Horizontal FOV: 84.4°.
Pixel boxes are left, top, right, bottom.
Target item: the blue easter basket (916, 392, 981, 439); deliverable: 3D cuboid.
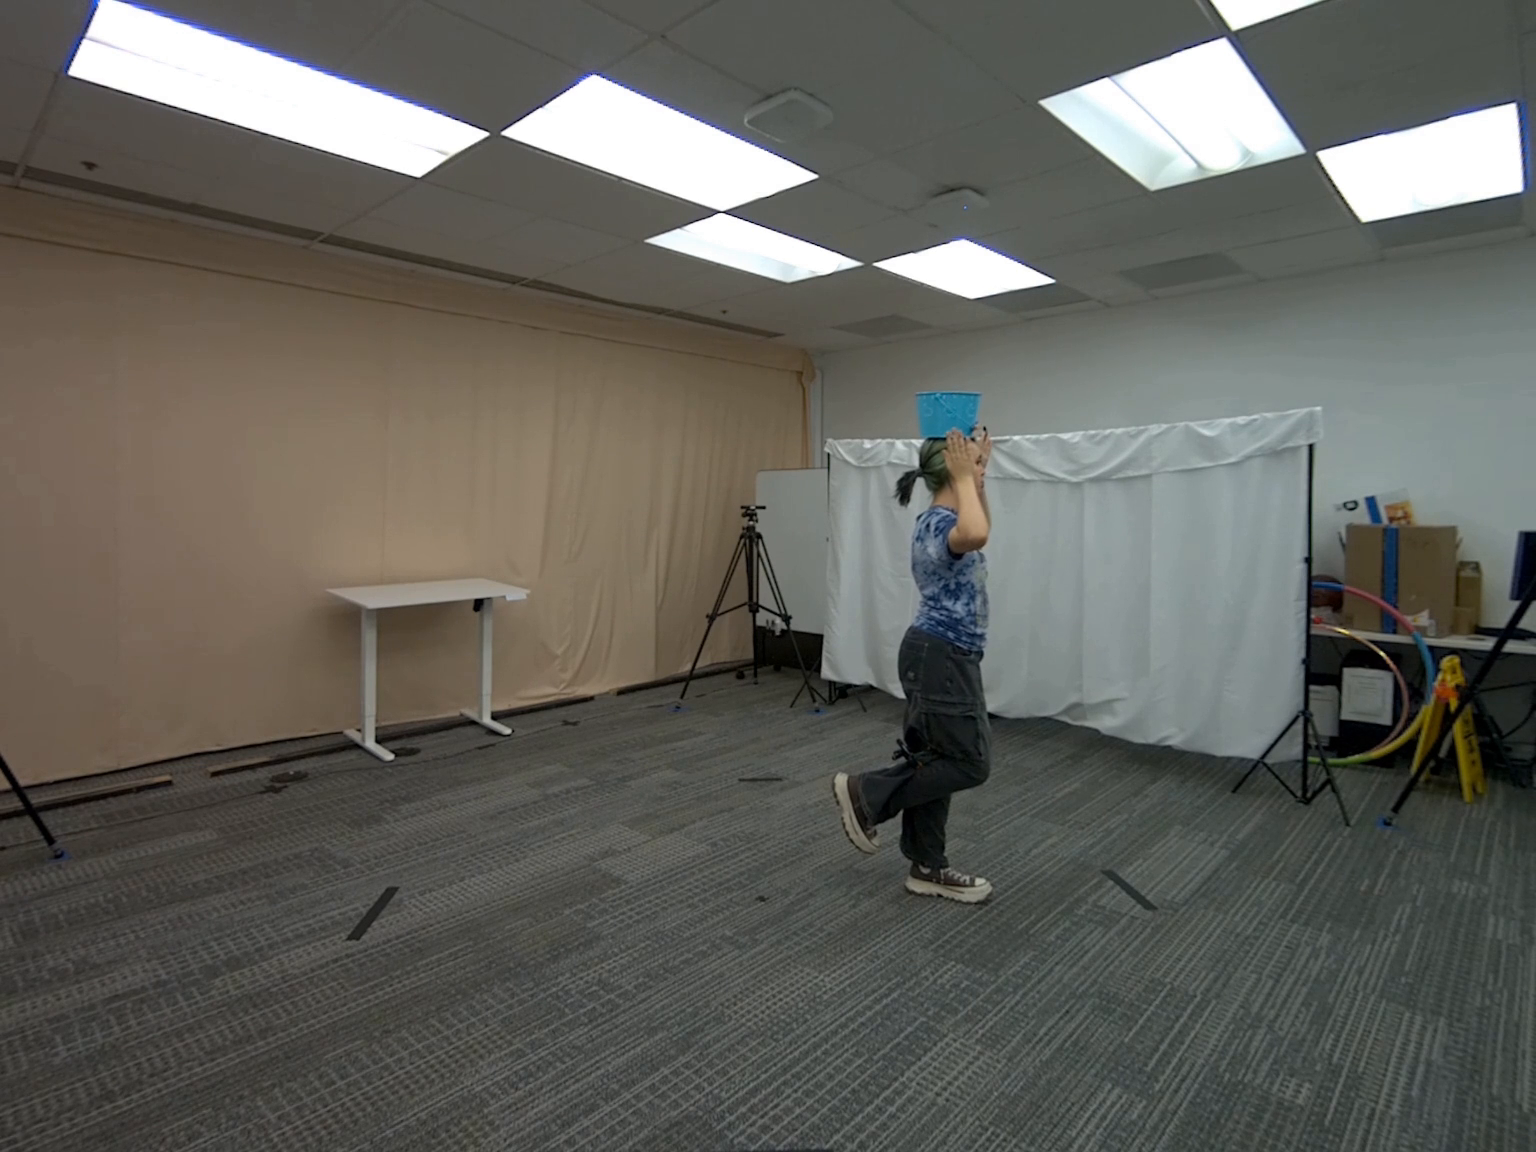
[{"bbox_3d":[0.640,-0.559,2.969,0.243,0.155,0.245,2,8,-2],"label":"blue easter basket"}]
